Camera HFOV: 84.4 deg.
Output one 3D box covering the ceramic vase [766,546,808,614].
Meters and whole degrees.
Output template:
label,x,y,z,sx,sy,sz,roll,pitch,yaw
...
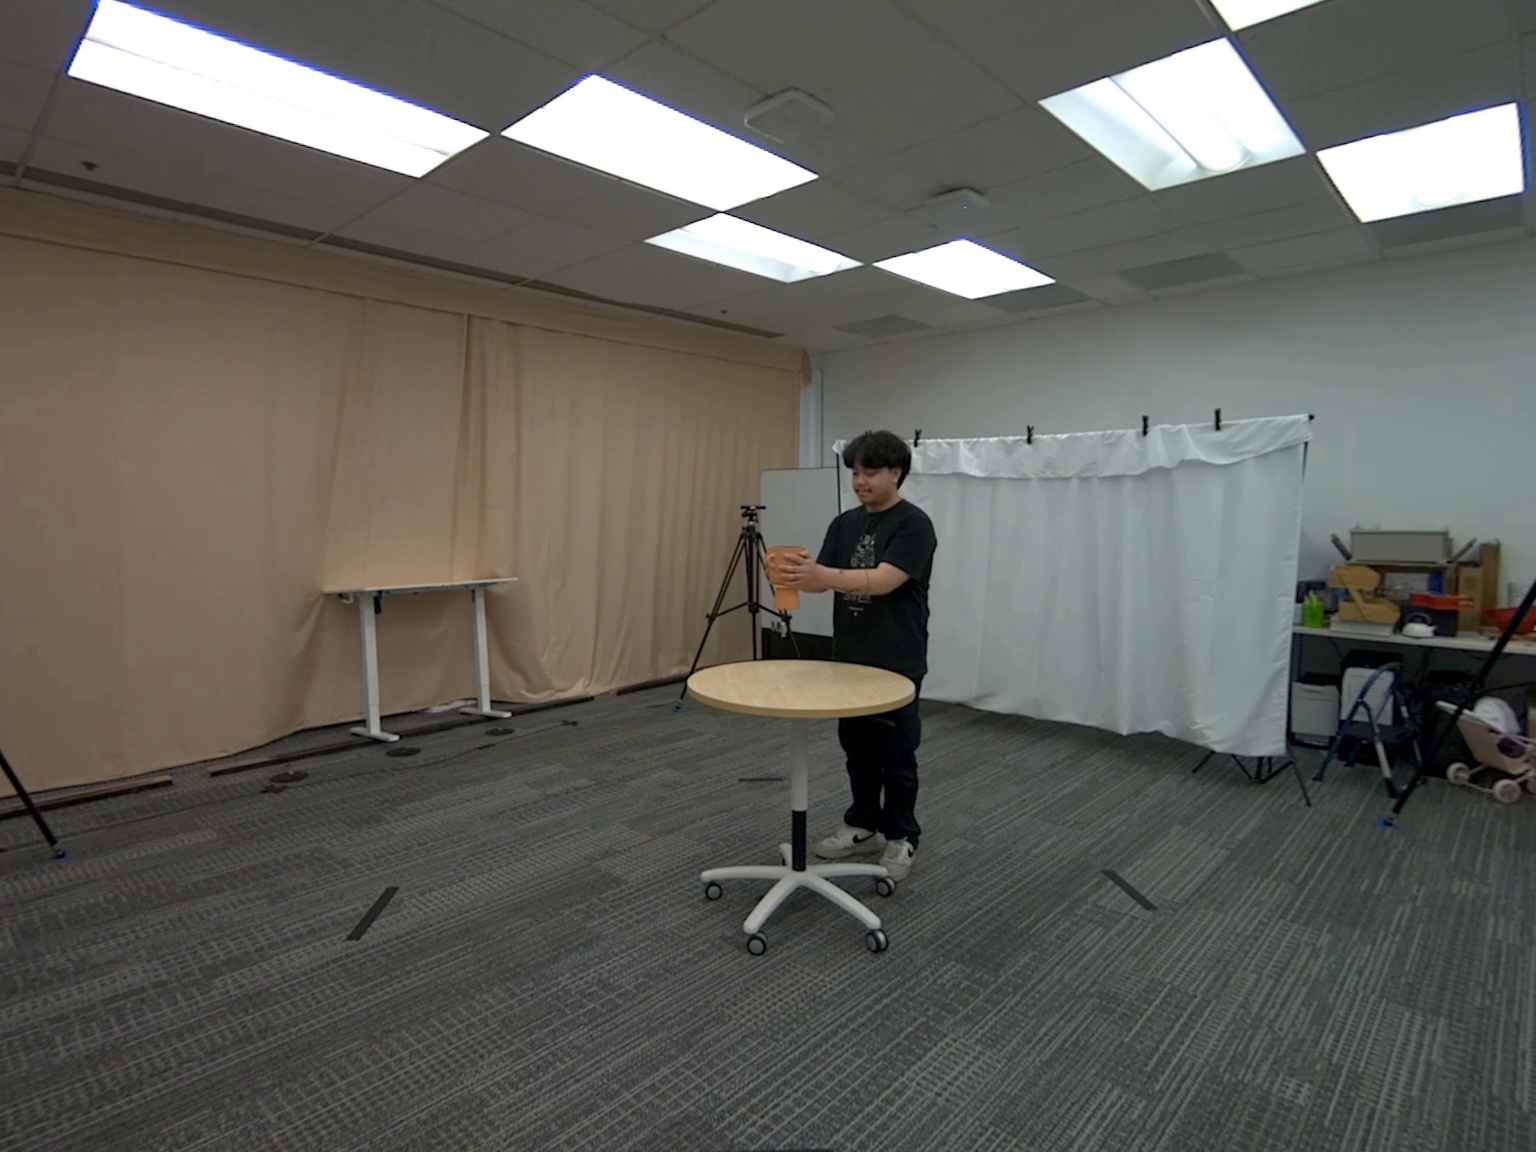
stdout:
label,x,y,z,sx,sy,sz,roll,pitch,yaw
ceramic vase,0.078,0.006,2.996,0.158,0.219,0.135,-3,4,-5
